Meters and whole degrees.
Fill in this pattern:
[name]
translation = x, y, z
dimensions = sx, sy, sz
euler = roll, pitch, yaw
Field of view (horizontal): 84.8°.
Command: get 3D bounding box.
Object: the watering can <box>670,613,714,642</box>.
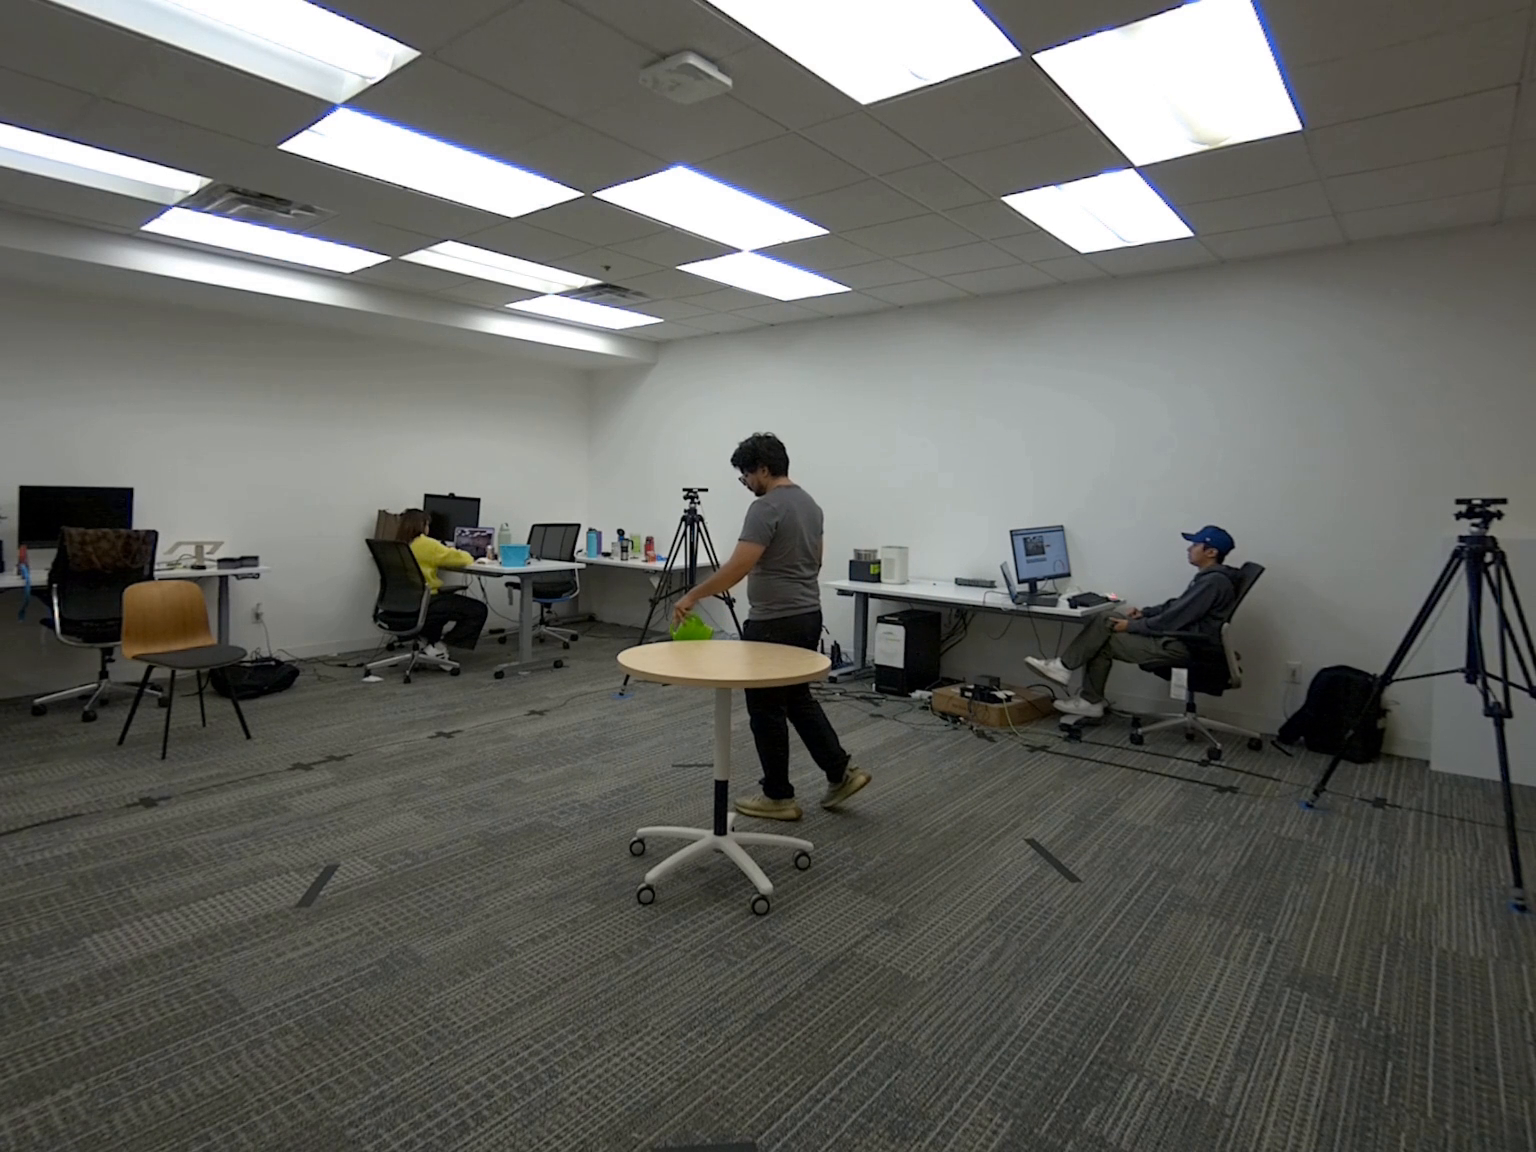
[watering can]
translation = -0.356, 0.256, 3.618
dimensions = 0.176, 0.277, 0.099
euler = 32, 38, -6
